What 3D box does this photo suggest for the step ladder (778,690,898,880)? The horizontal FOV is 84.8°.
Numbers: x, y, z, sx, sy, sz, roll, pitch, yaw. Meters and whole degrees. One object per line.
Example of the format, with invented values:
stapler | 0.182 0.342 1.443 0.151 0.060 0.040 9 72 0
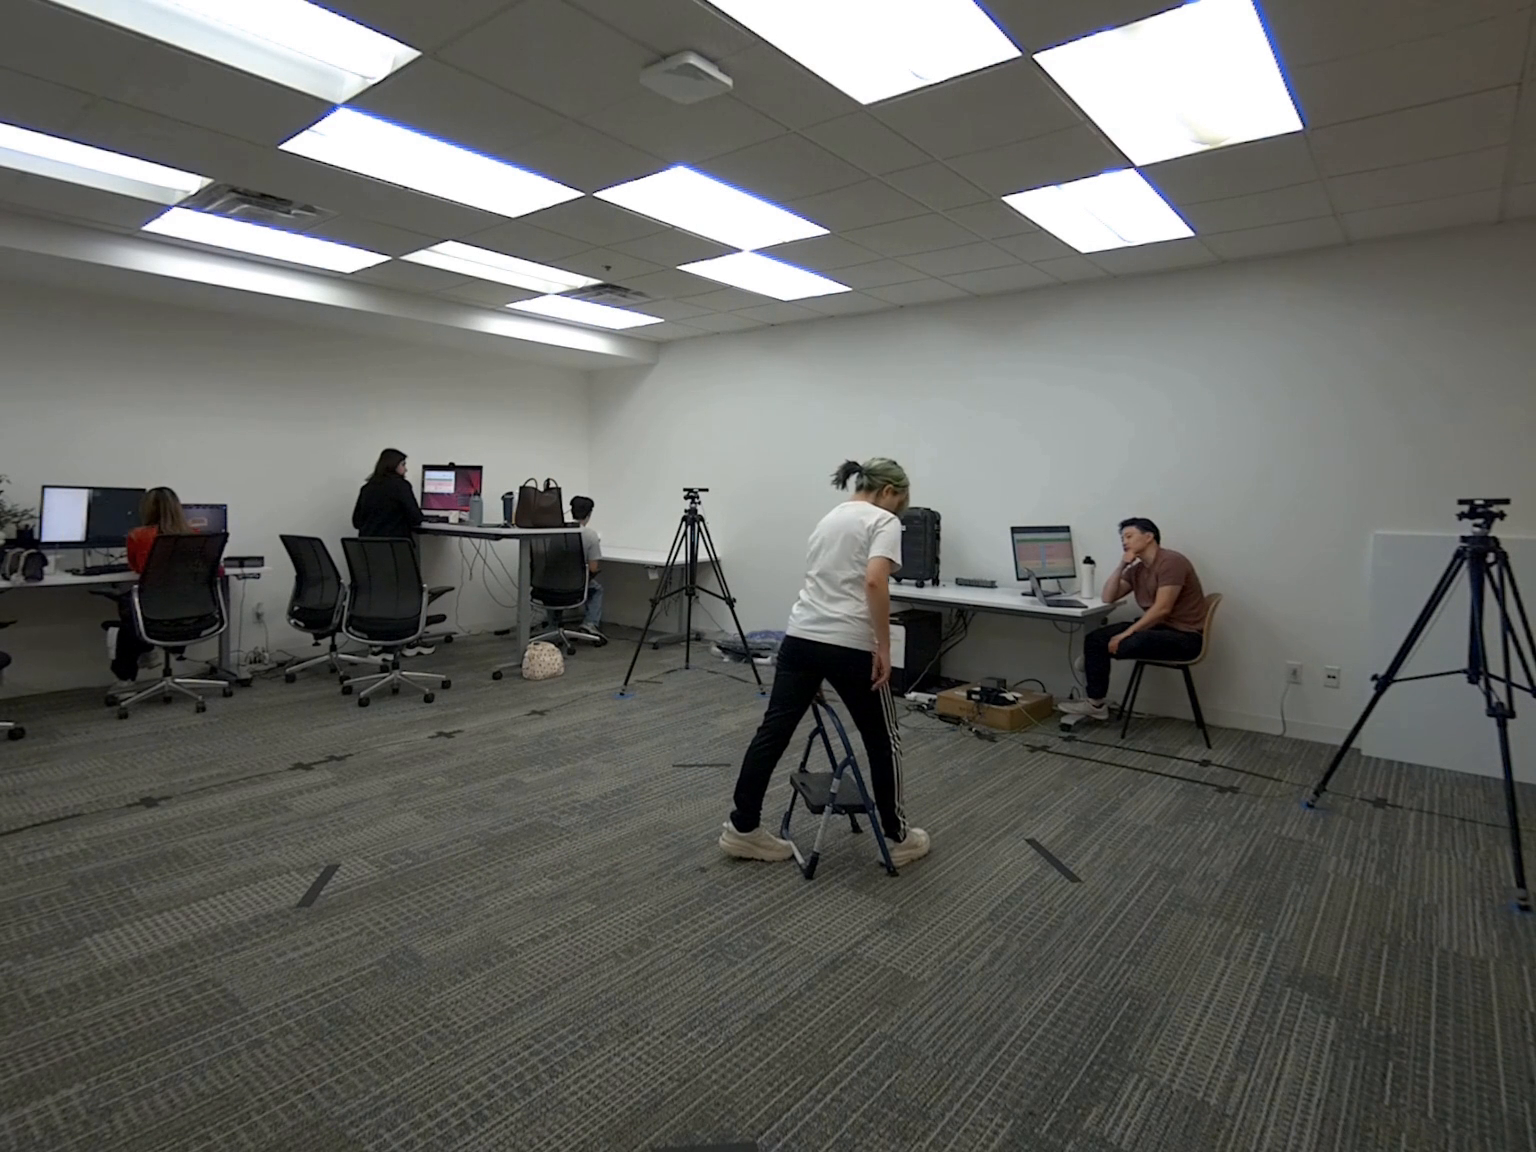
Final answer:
step ladder | 0.259 0.764 3.255 0.345 0.604 0.437 0 4 -12
